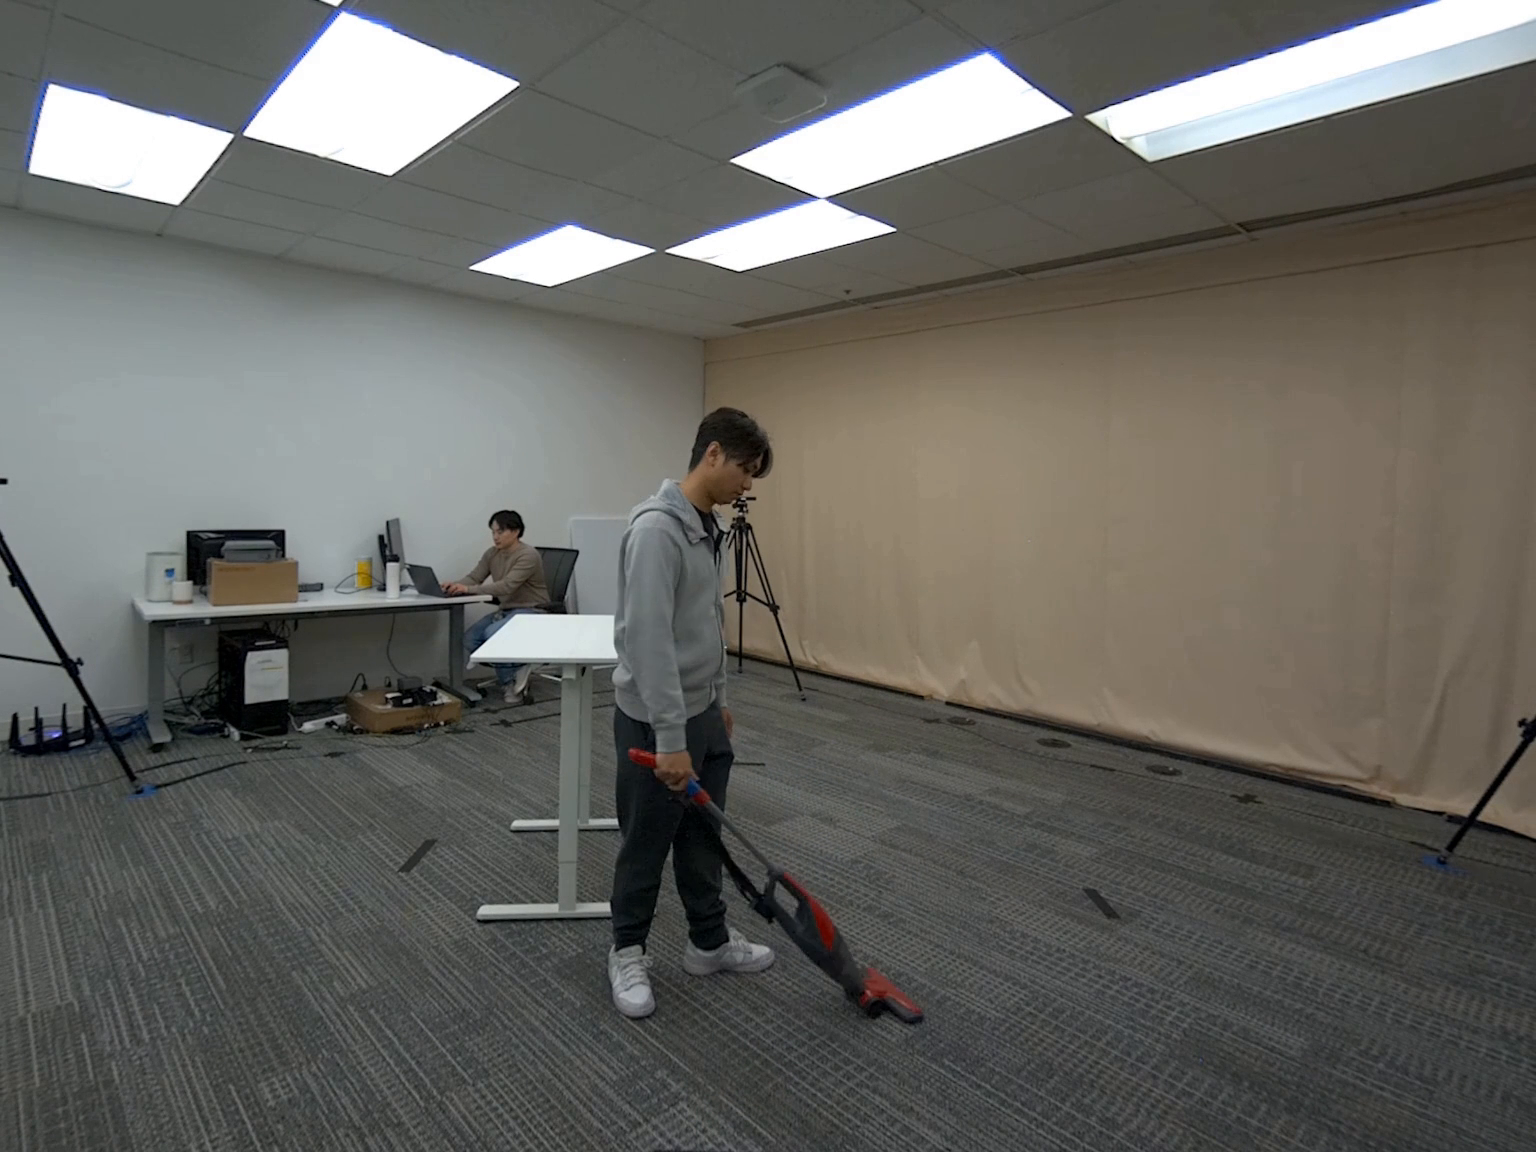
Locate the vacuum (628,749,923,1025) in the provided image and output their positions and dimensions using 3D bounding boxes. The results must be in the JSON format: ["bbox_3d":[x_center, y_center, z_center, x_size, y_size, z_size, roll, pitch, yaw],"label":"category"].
[{"bbox_3d":[-0.003,0.807,2.178,0.144,1.028,0.258,-46,21,-15],"label":"vacuum"}]
